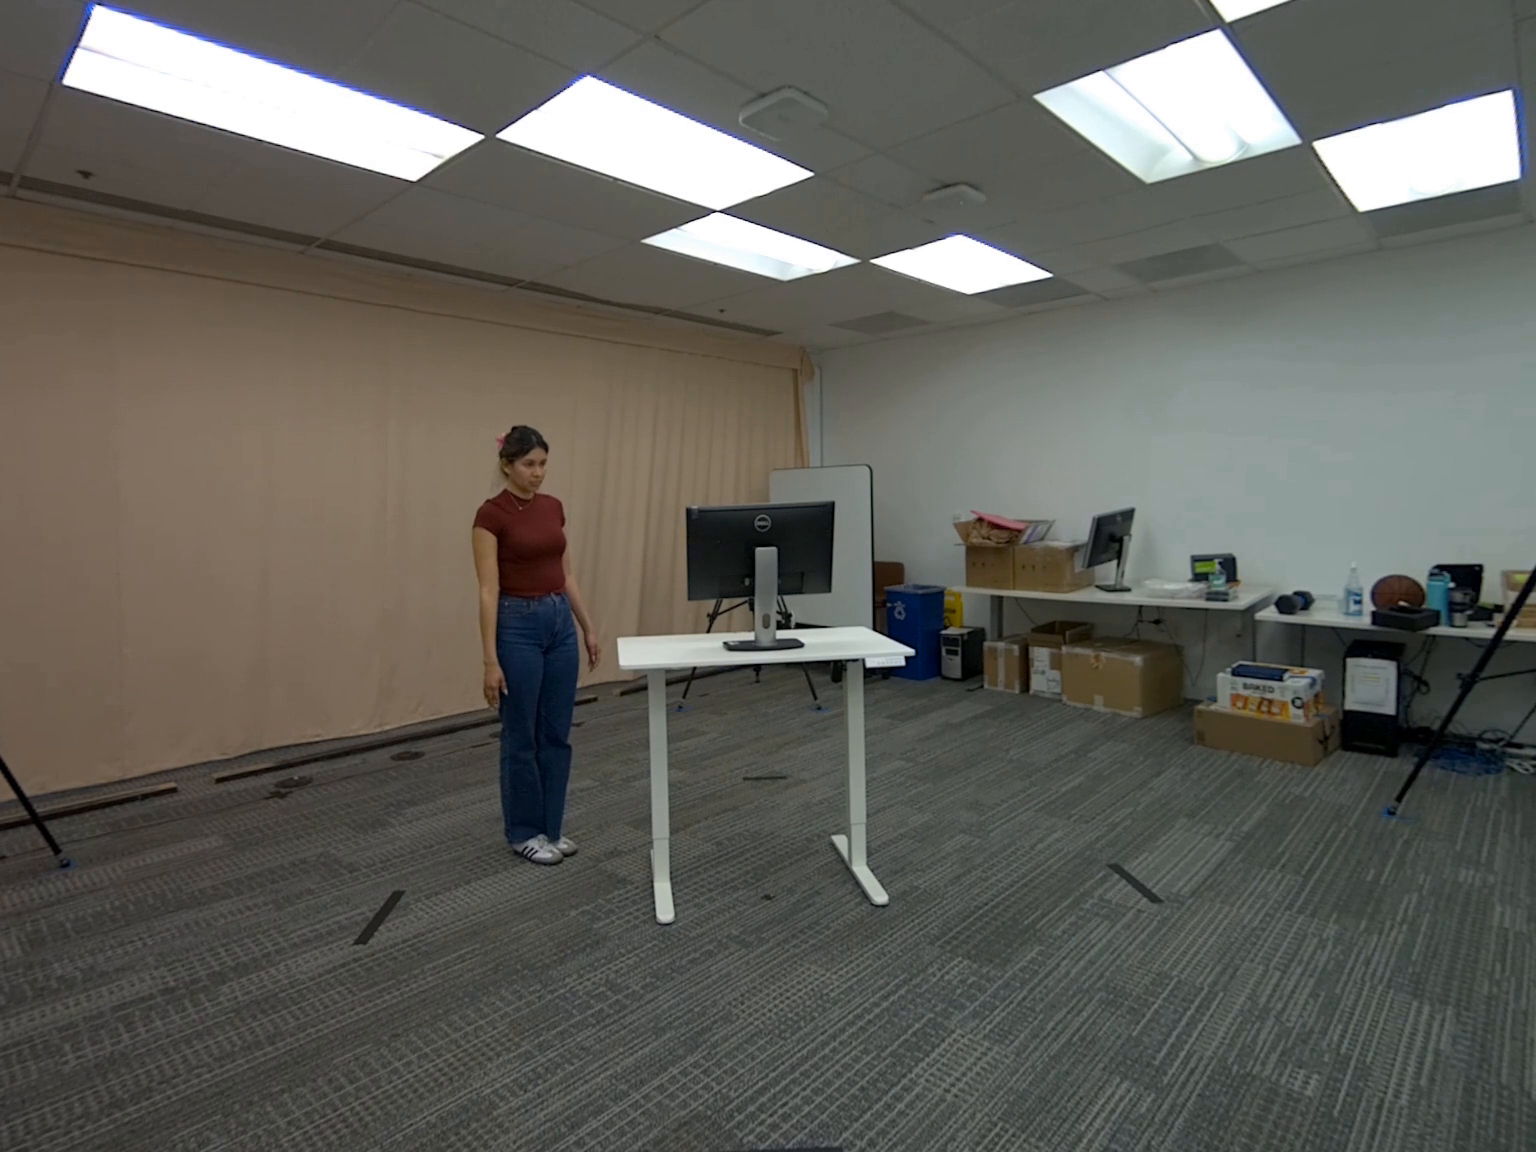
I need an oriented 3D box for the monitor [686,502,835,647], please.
[{"bbox_3d":[-0.013,0.003,2.997,0.533,0.521,0.189,-2,5,-10],"label":"monitor"}]
